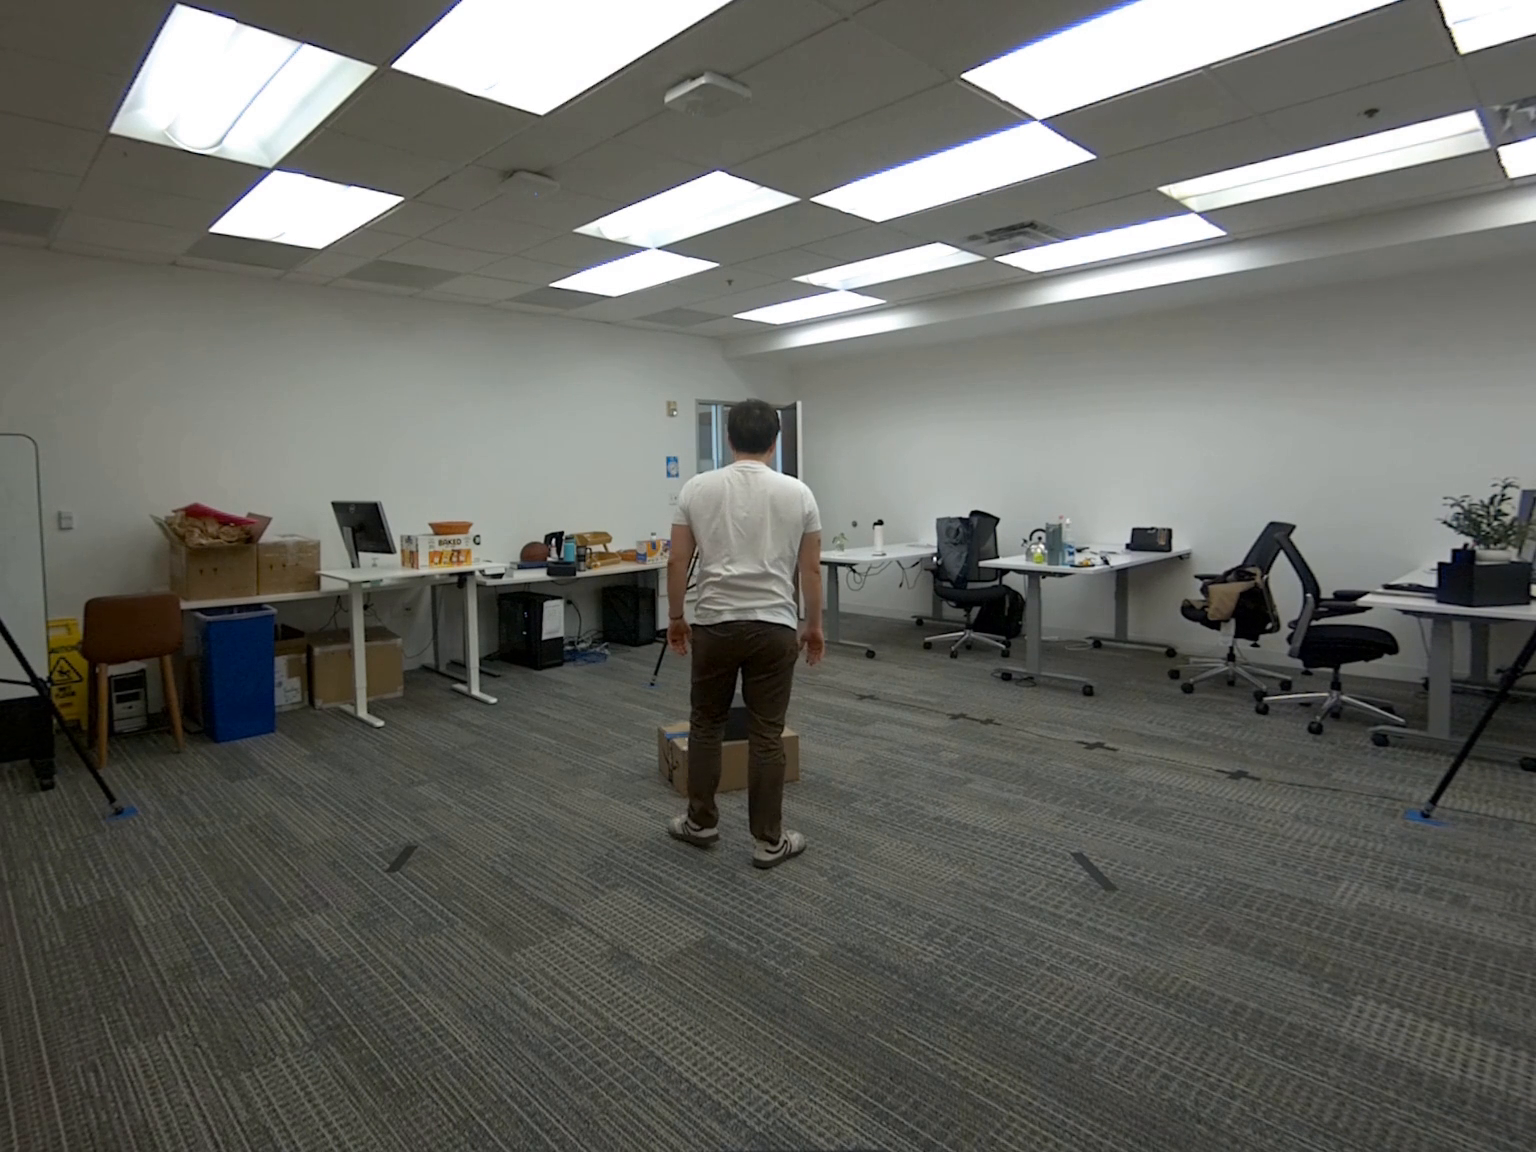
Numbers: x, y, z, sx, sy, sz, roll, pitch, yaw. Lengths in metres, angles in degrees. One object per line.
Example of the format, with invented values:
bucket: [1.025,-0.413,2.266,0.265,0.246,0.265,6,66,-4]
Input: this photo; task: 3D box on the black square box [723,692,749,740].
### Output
black square box: [-0.192,0.643,3.955,0.226,0.155,0.220,-1,6,-10]
